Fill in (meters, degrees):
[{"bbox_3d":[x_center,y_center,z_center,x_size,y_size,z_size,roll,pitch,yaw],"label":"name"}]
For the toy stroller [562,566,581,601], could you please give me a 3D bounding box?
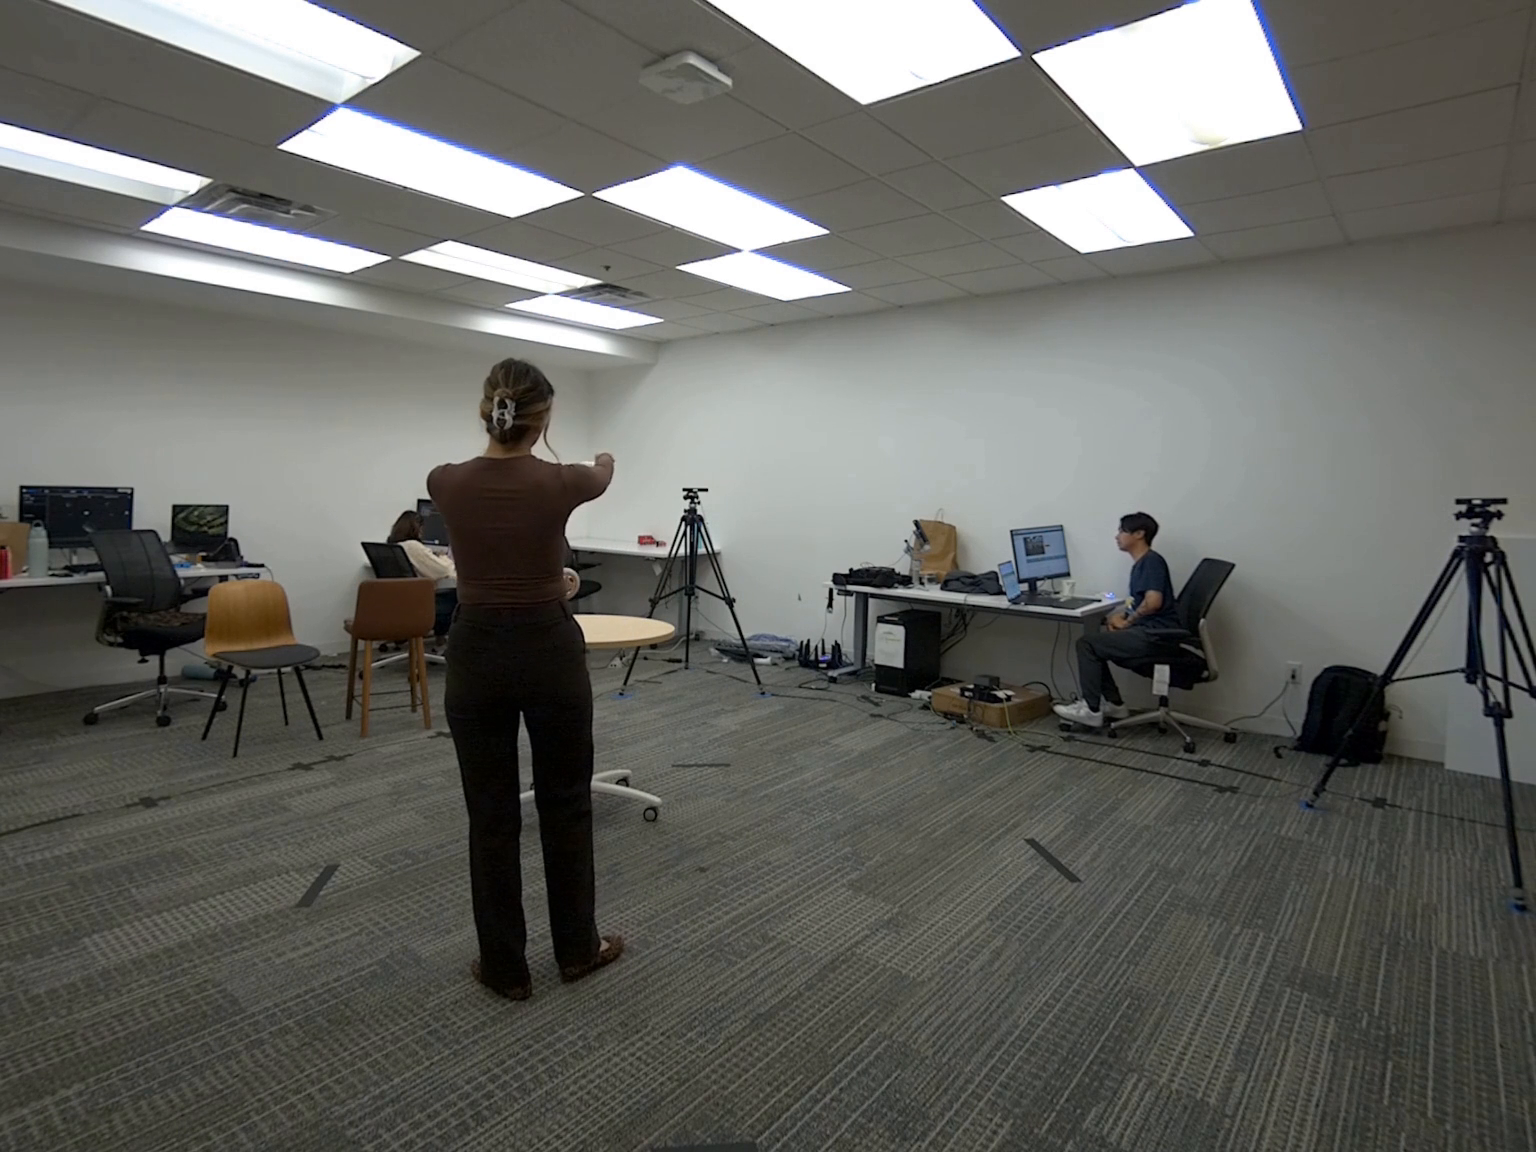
[{"bbox_3d":[-0.820,-0.165,2.920,0.331,0.534,0.290,12,3,-27],"label":"toy stroller"}]
